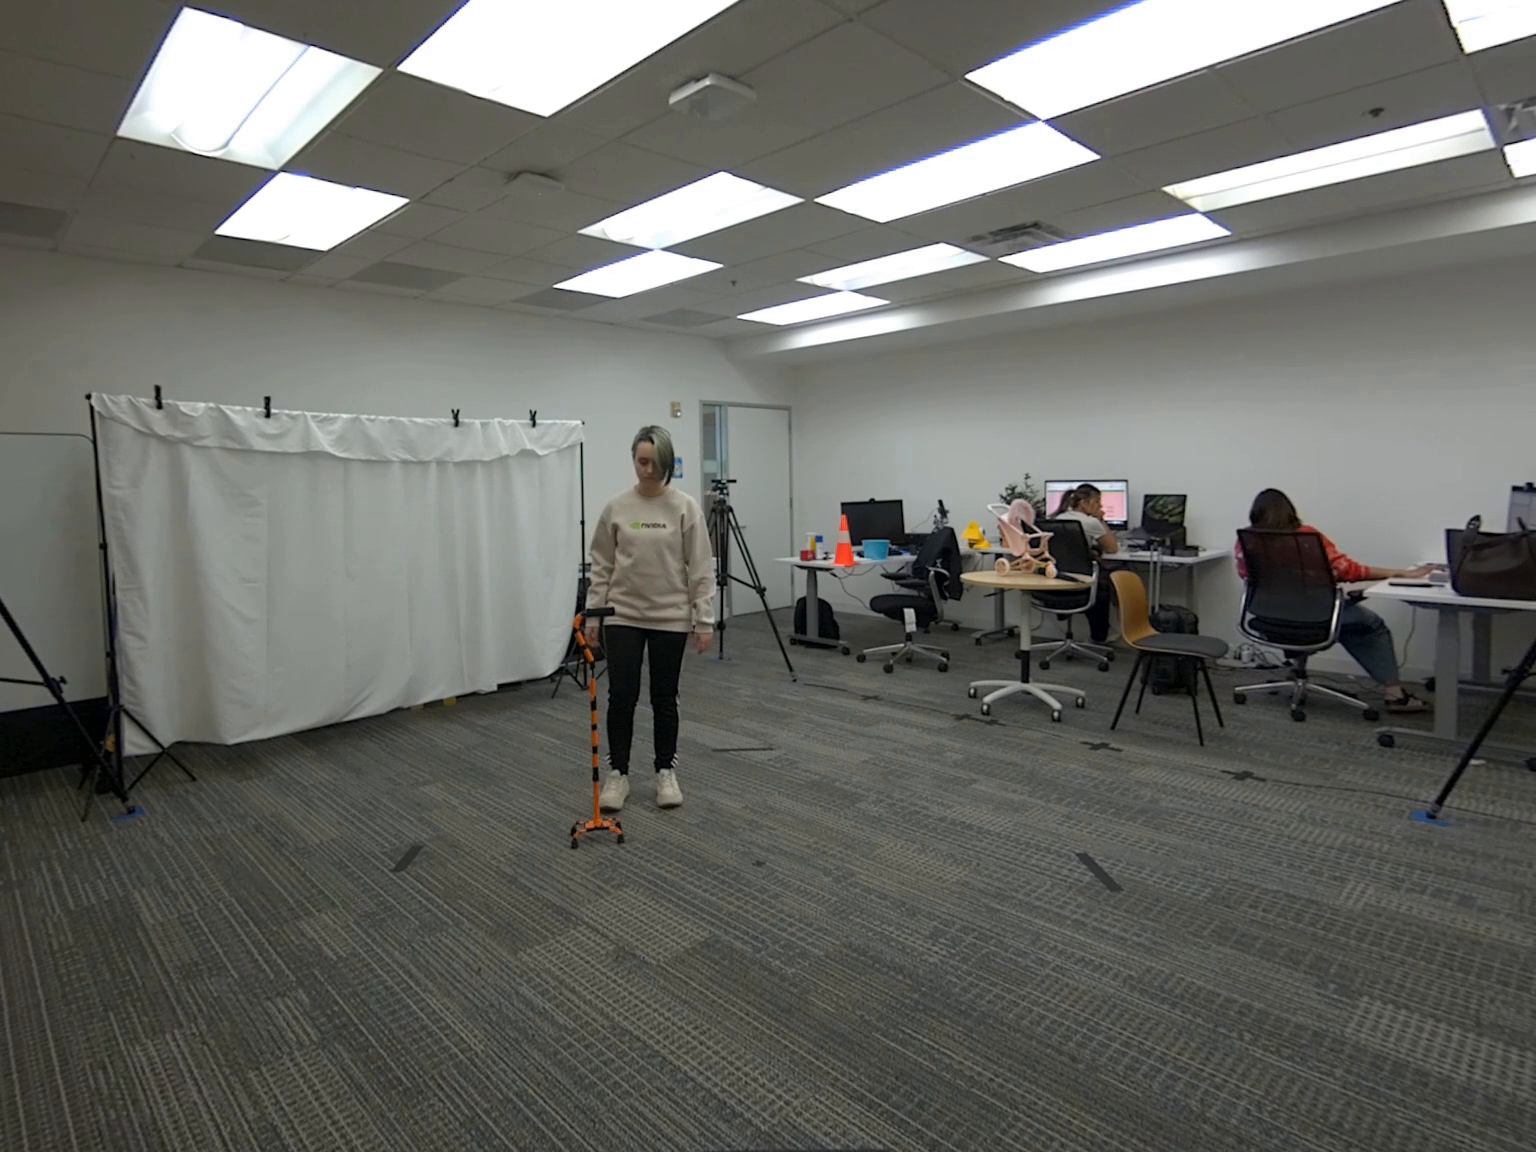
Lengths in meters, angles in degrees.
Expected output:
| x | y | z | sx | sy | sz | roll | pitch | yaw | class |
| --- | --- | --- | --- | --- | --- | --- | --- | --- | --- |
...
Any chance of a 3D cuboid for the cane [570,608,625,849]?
| x | y | z | sx | sy | sz | roll | pitch | yaw | class |
| --- | --- | --- | --- | --- | --- | --- | --- | --- | --- |
| -0.673 | 0.582 | 3.332 | 0.204 | 0.905 | 0.154 | -1 | 3 | -14 | cane |
